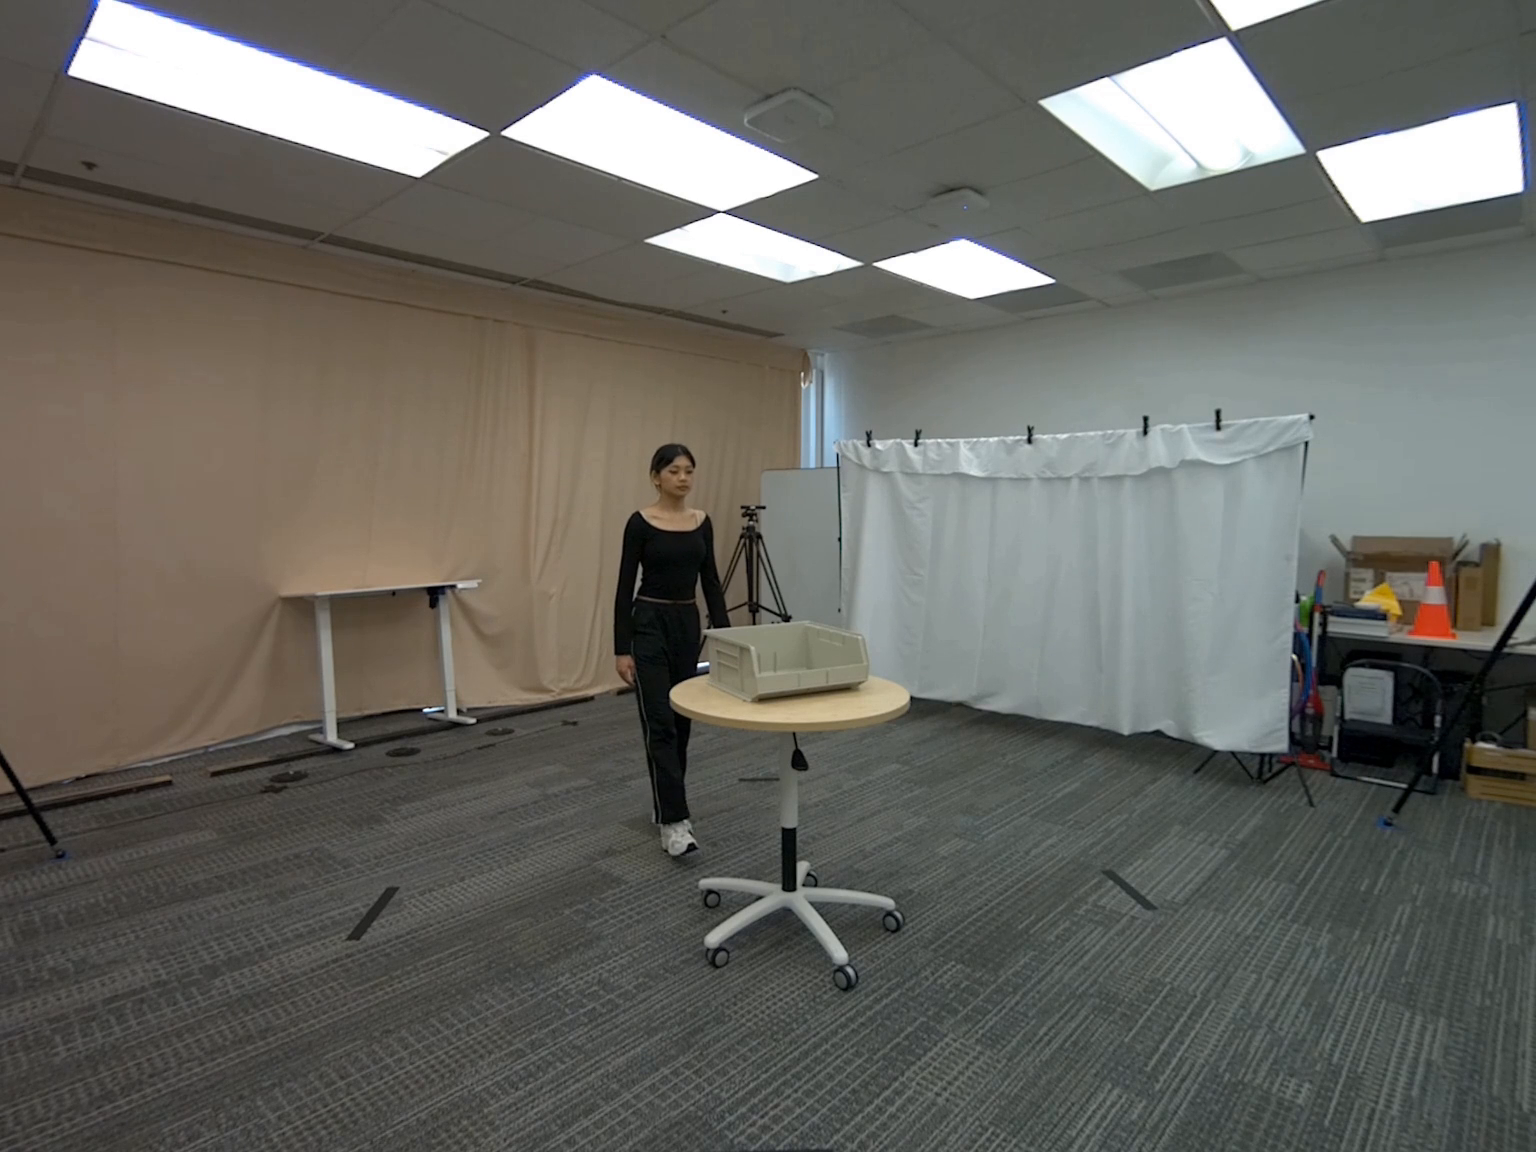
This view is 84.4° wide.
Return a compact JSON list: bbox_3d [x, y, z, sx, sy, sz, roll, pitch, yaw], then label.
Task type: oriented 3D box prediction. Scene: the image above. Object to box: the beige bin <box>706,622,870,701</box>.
[{"bbox_3d":[0.058,0.279,2.775,0.412,0.188,0.387,-3,4,-27],"label":"beige bin"}]
